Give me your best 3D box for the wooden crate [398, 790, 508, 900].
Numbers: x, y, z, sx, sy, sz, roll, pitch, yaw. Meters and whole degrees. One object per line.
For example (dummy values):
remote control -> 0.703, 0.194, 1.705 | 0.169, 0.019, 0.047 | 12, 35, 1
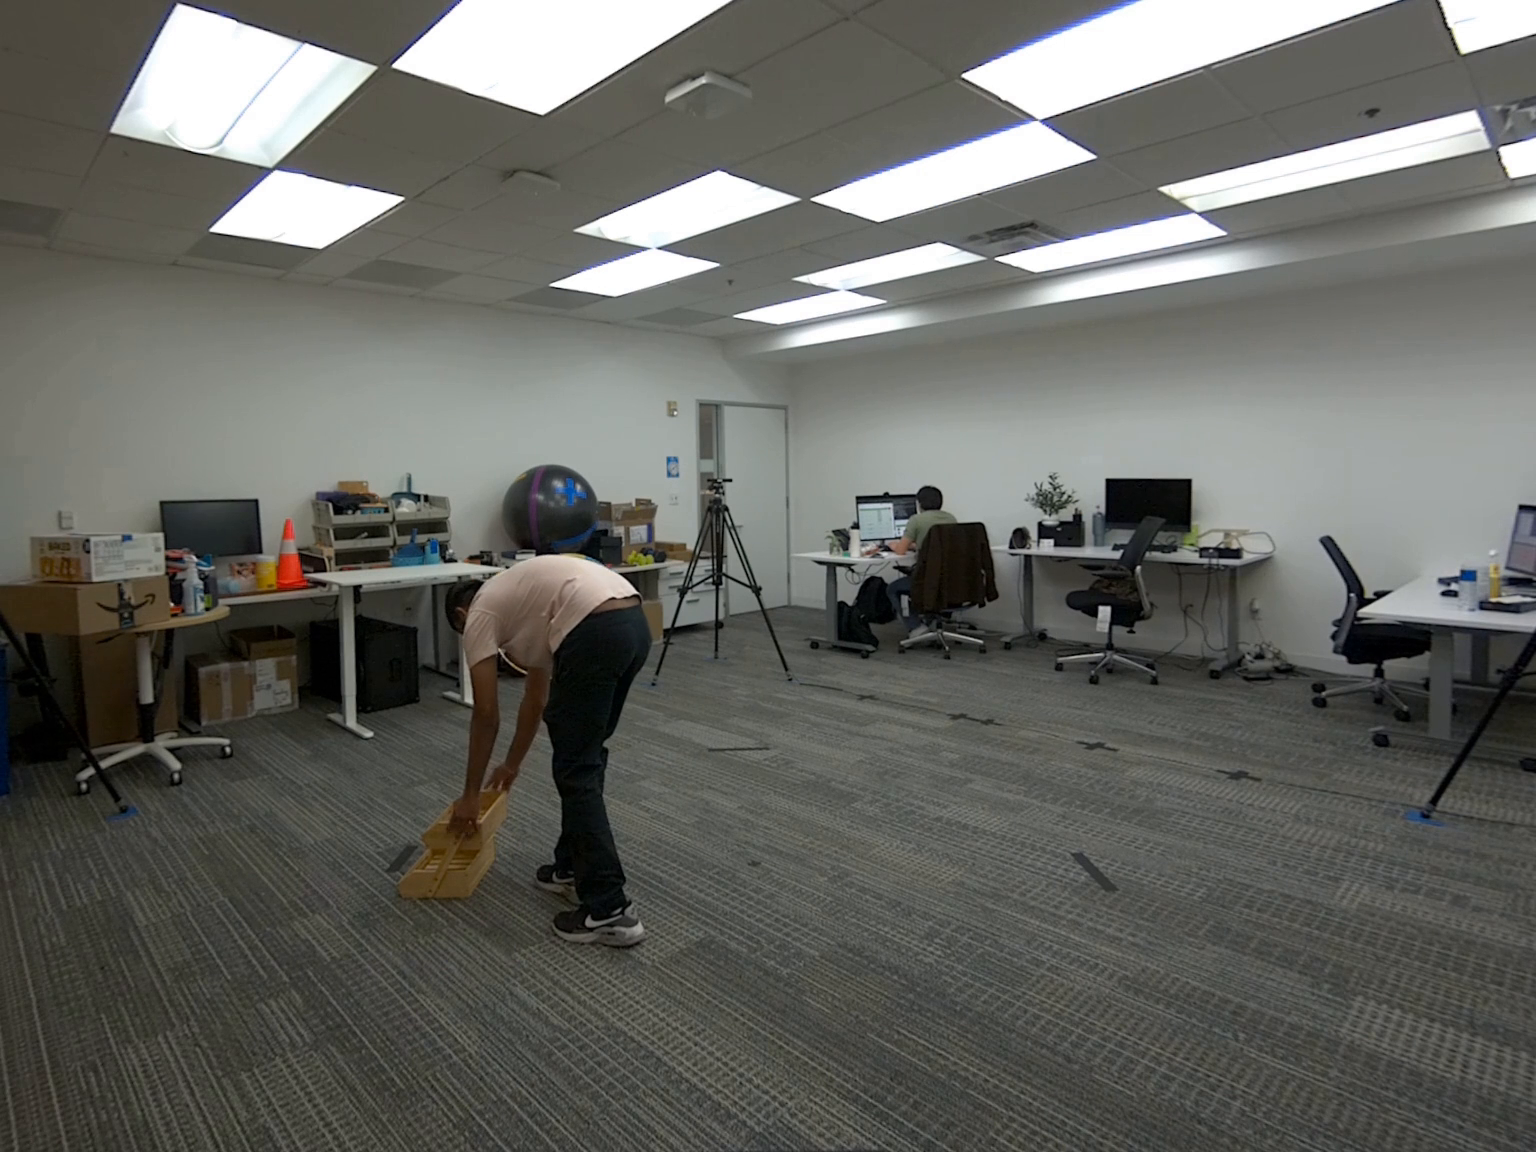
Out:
wooden crate -> -1.129, 0.953, 3.040 | 0.303, 0.272, 0.325 | -3, 5, 2
